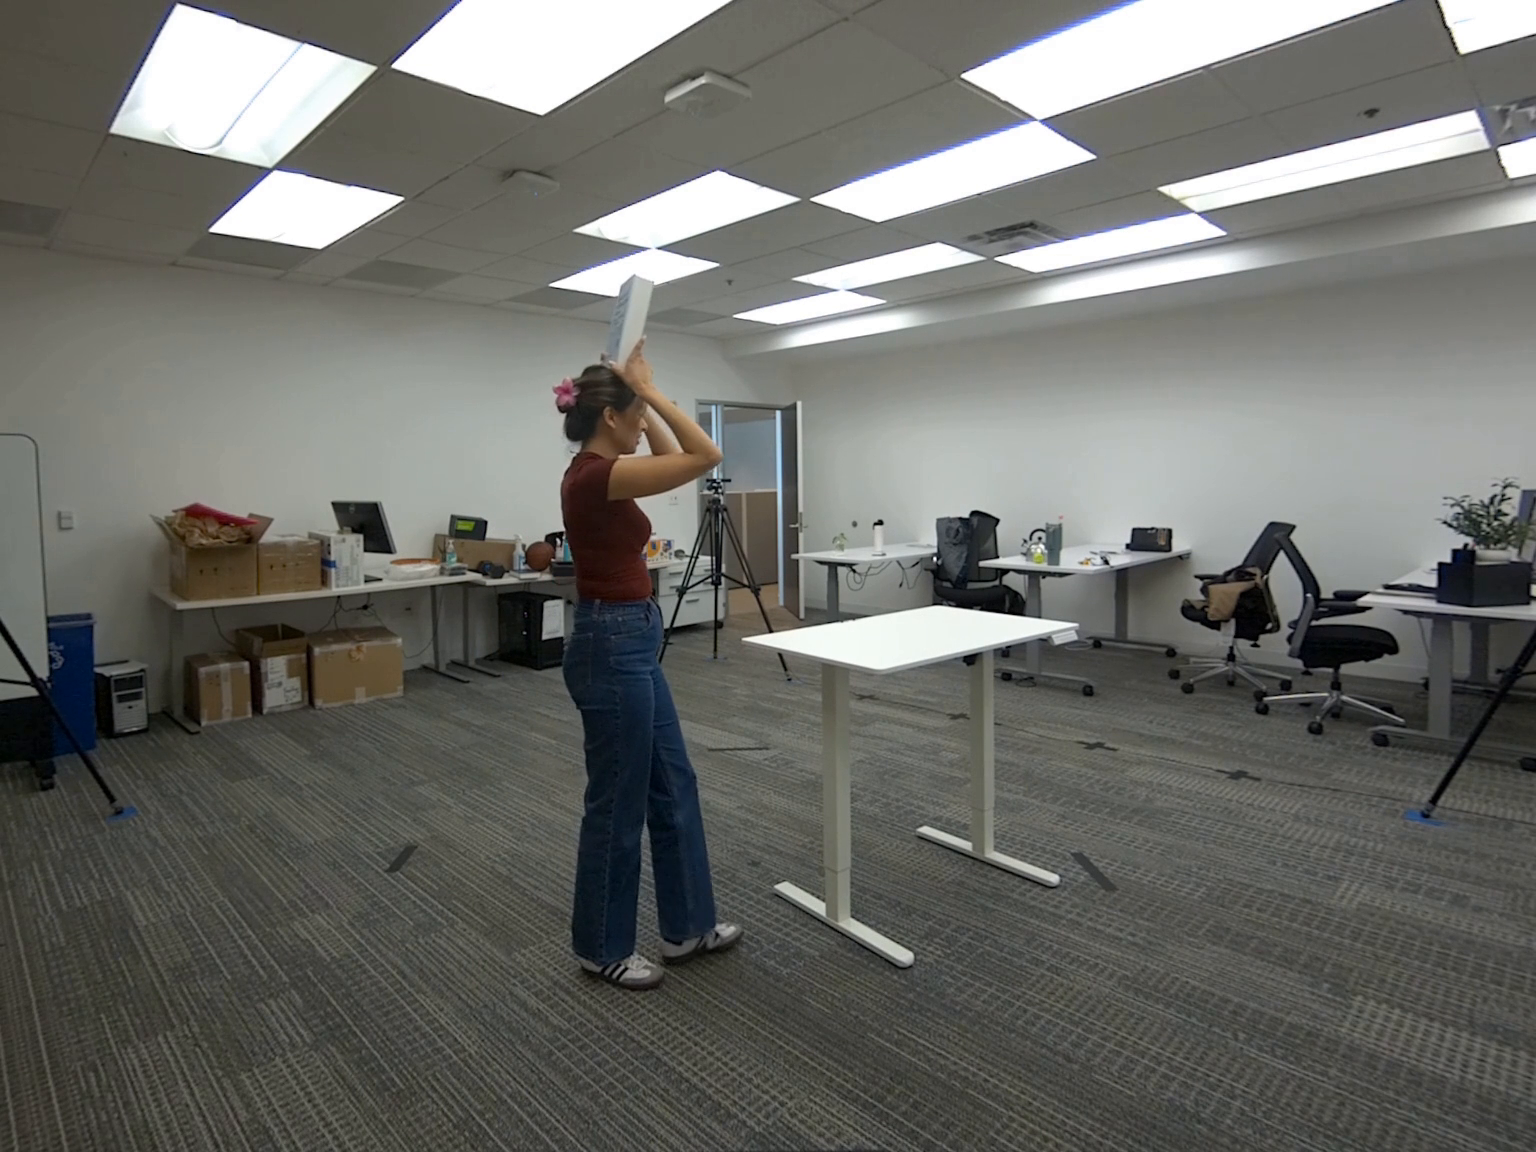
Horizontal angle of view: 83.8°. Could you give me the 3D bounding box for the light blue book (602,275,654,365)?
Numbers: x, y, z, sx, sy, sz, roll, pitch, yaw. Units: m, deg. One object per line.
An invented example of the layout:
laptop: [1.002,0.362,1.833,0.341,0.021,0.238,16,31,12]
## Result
light blue book: [-0.387,-0.688,2.372,0.058,0.261,0.196,11,2,-22]
